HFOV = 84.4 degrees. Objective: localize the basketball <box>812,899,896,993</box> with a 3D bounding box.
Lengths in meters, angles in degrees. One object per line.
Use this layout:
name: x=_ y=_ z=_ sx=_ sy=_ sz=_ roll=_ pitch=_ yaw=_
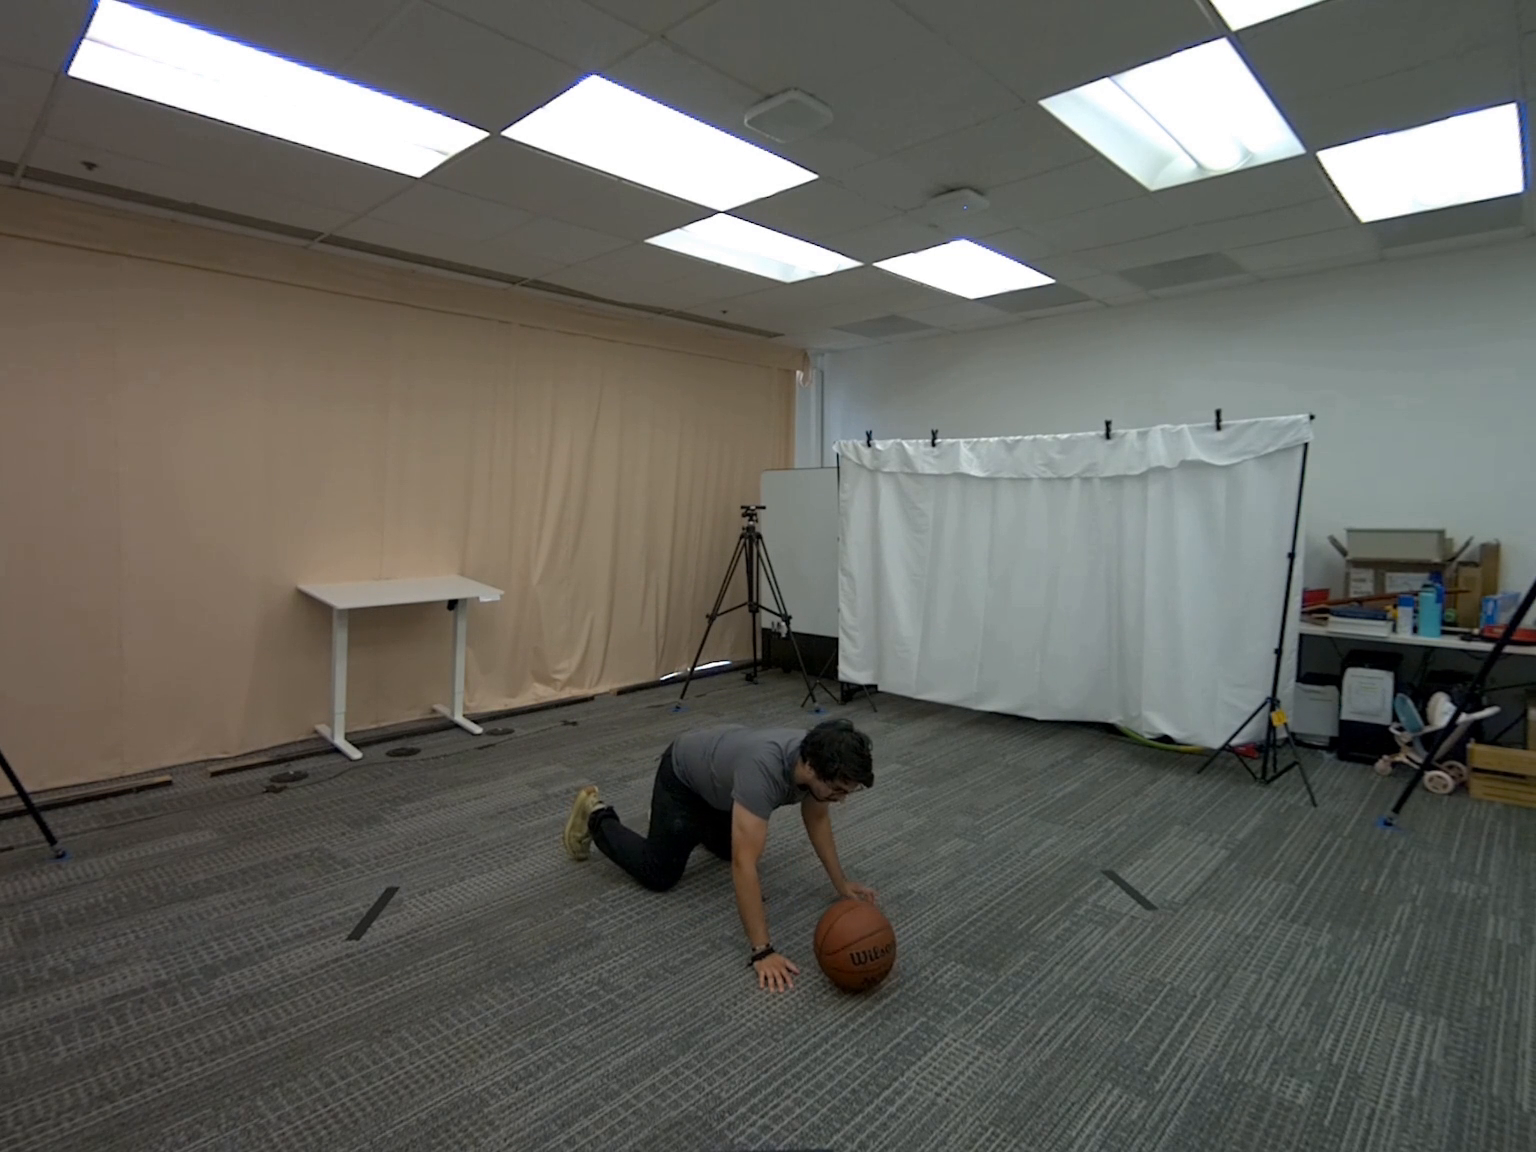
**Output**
basketball: x=0.255 y=1.064 z=2.443 sx=0.236 sy=0.235 sz=0.237 roll=0 pitch=4 yaw=-2
